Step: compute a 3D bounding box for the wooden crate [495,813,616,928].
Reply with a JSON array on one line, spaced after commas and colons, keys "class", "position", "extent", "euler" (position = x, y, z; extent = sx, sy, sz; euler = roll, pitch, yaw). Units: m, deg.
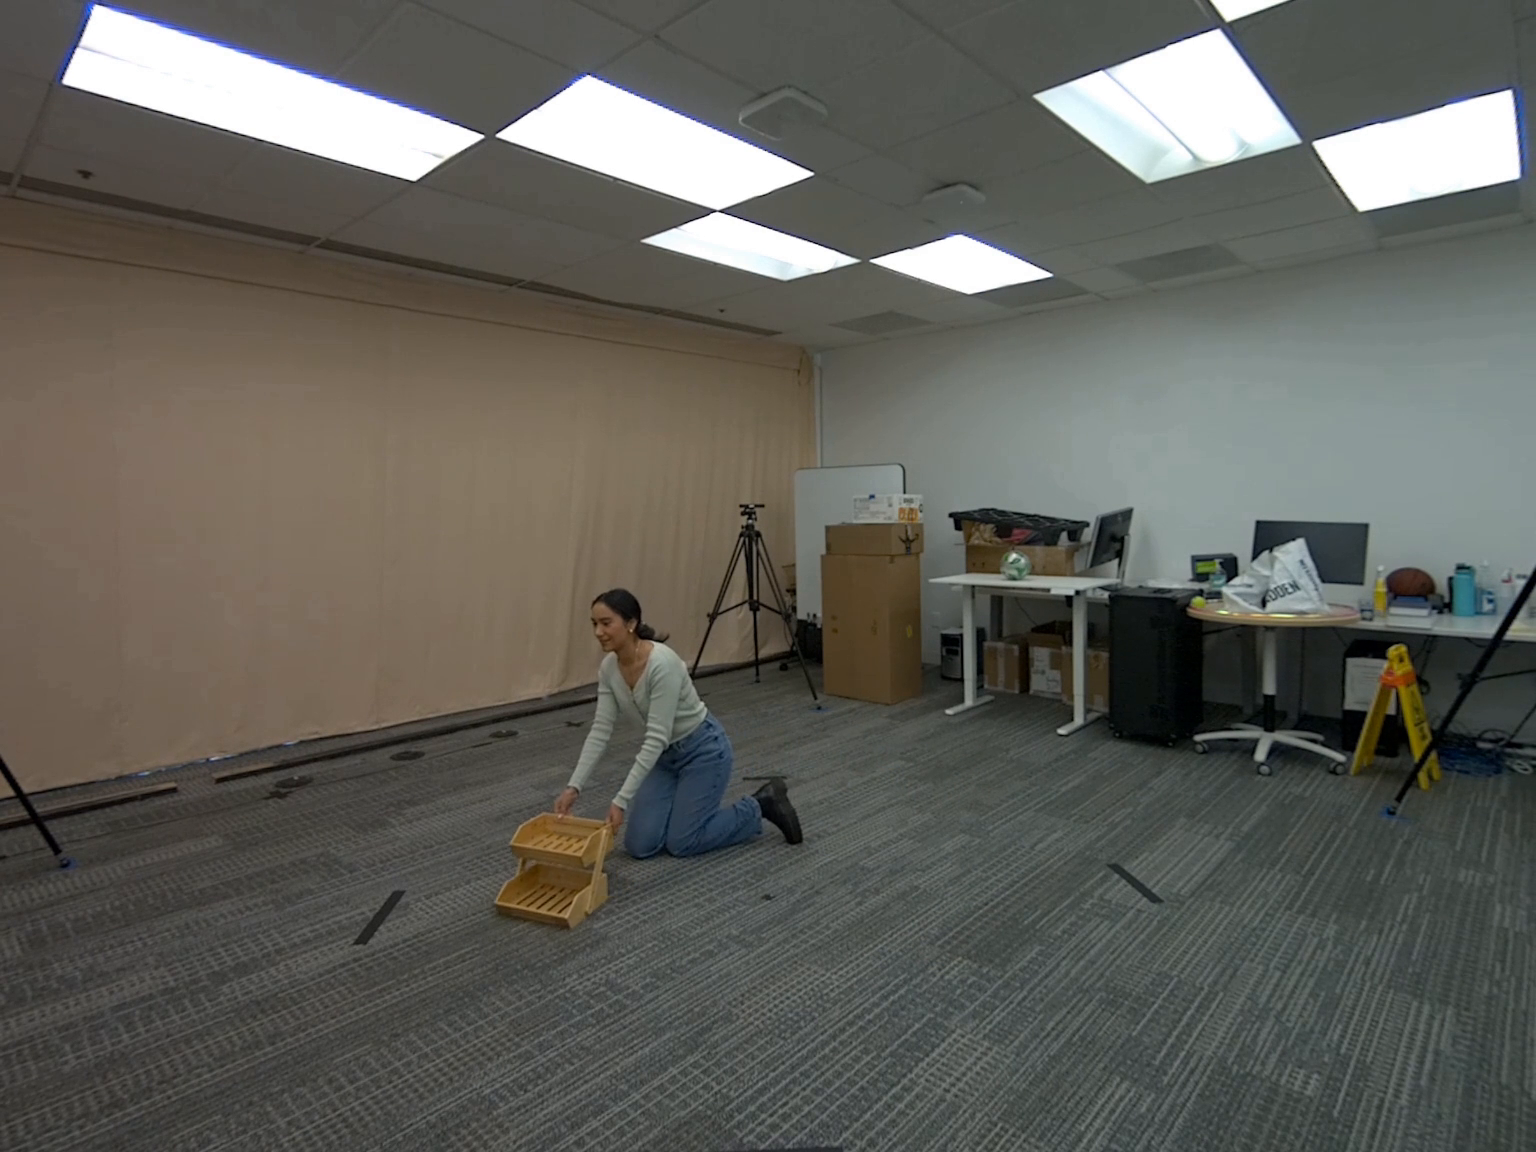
[{"class": "wooden crate", "position": [-0.753, 1.026, 2.957], "extent": [0.332, 0.273, 0.295], "euler": [0, 3, 22]}]
